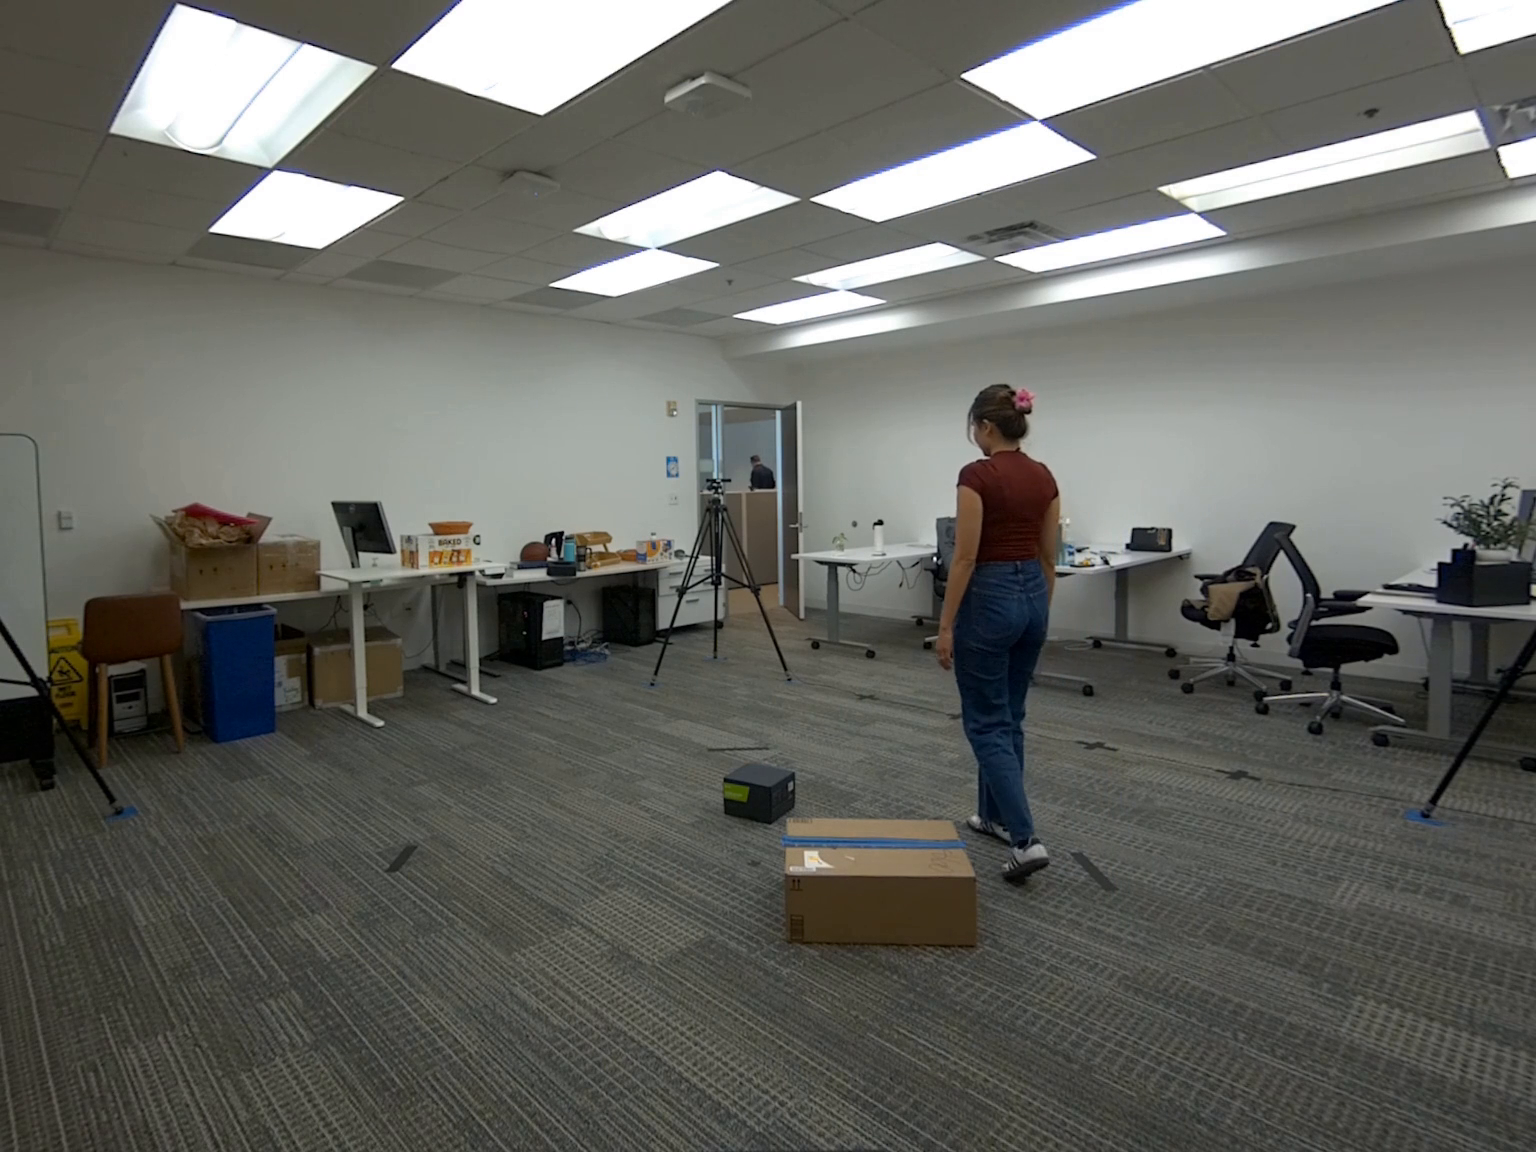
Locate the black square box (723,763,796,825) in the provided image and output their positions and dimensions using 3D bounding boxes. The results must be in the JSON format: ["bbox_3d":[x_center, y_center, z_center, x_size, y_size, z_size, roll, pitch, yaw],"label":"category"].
[{"bbox_3d":[-0.036,0.905,3.592,0.234,0.155,0.212,2,6,30],"label":"black square box"}]
